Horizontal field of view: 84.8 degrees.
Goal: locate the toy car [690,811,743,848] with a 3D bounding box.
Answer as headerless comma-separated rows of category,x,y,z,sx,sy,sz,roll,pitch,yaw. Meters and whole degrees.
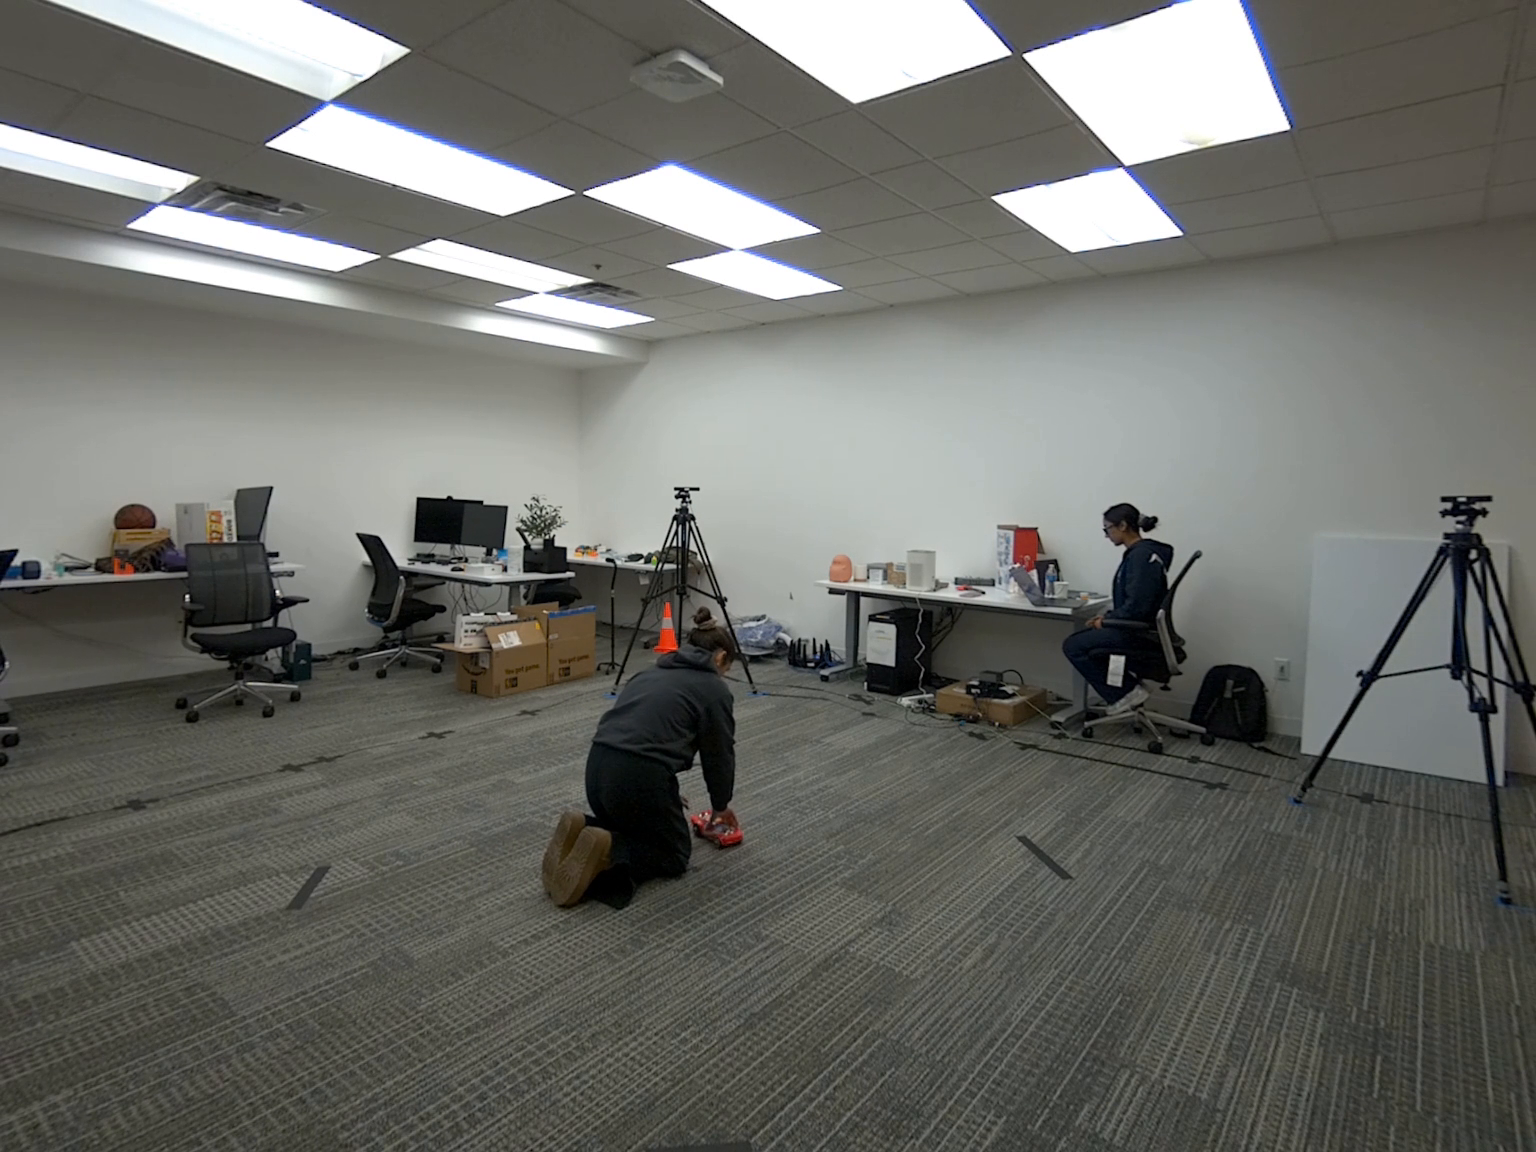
toy car,-0.214,1.010,3.394,0.126,0.082,0.265,-1,17,-37
